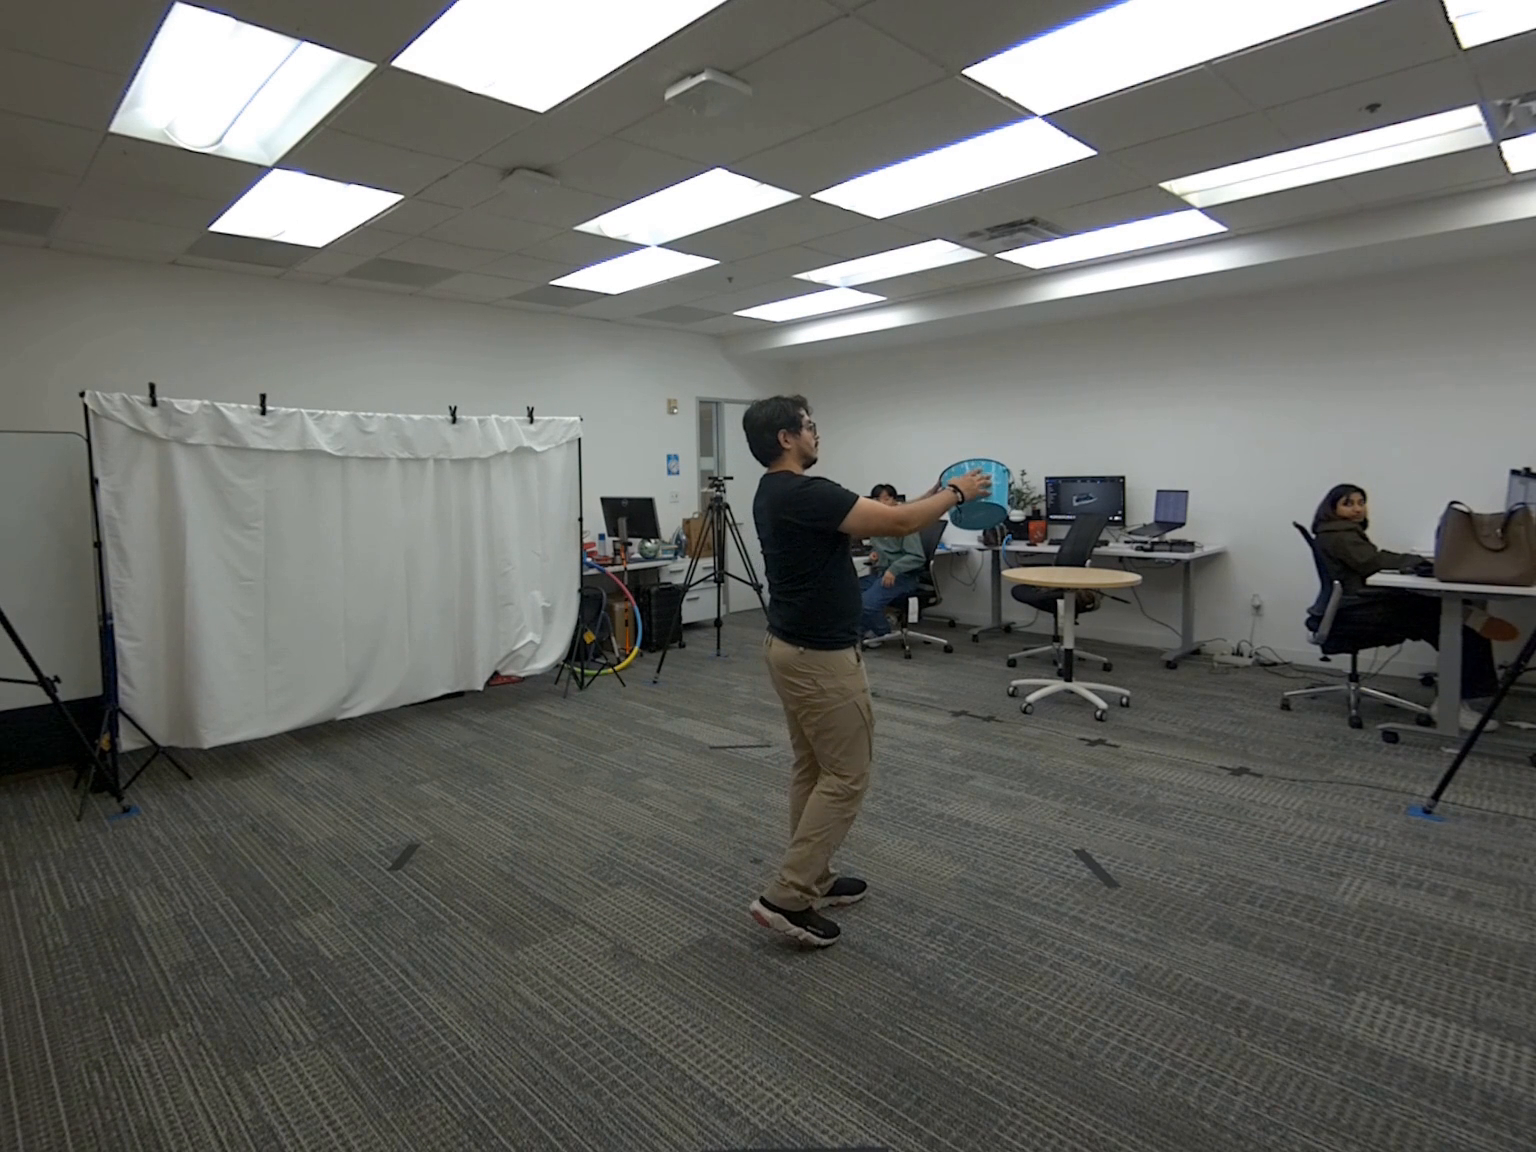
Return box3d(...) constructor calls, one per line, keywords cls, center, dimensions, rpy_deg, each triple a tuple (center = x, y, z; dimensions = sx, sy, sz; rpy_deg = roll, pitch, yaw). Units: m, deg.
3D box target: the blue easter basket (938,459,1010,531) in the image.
box3d(cls="blue easter basket", center=(0.700, -0.262, 2.824), dimensions=(0.244, 0.159, 0.238), rpy_deg=(2, -28, 0))
